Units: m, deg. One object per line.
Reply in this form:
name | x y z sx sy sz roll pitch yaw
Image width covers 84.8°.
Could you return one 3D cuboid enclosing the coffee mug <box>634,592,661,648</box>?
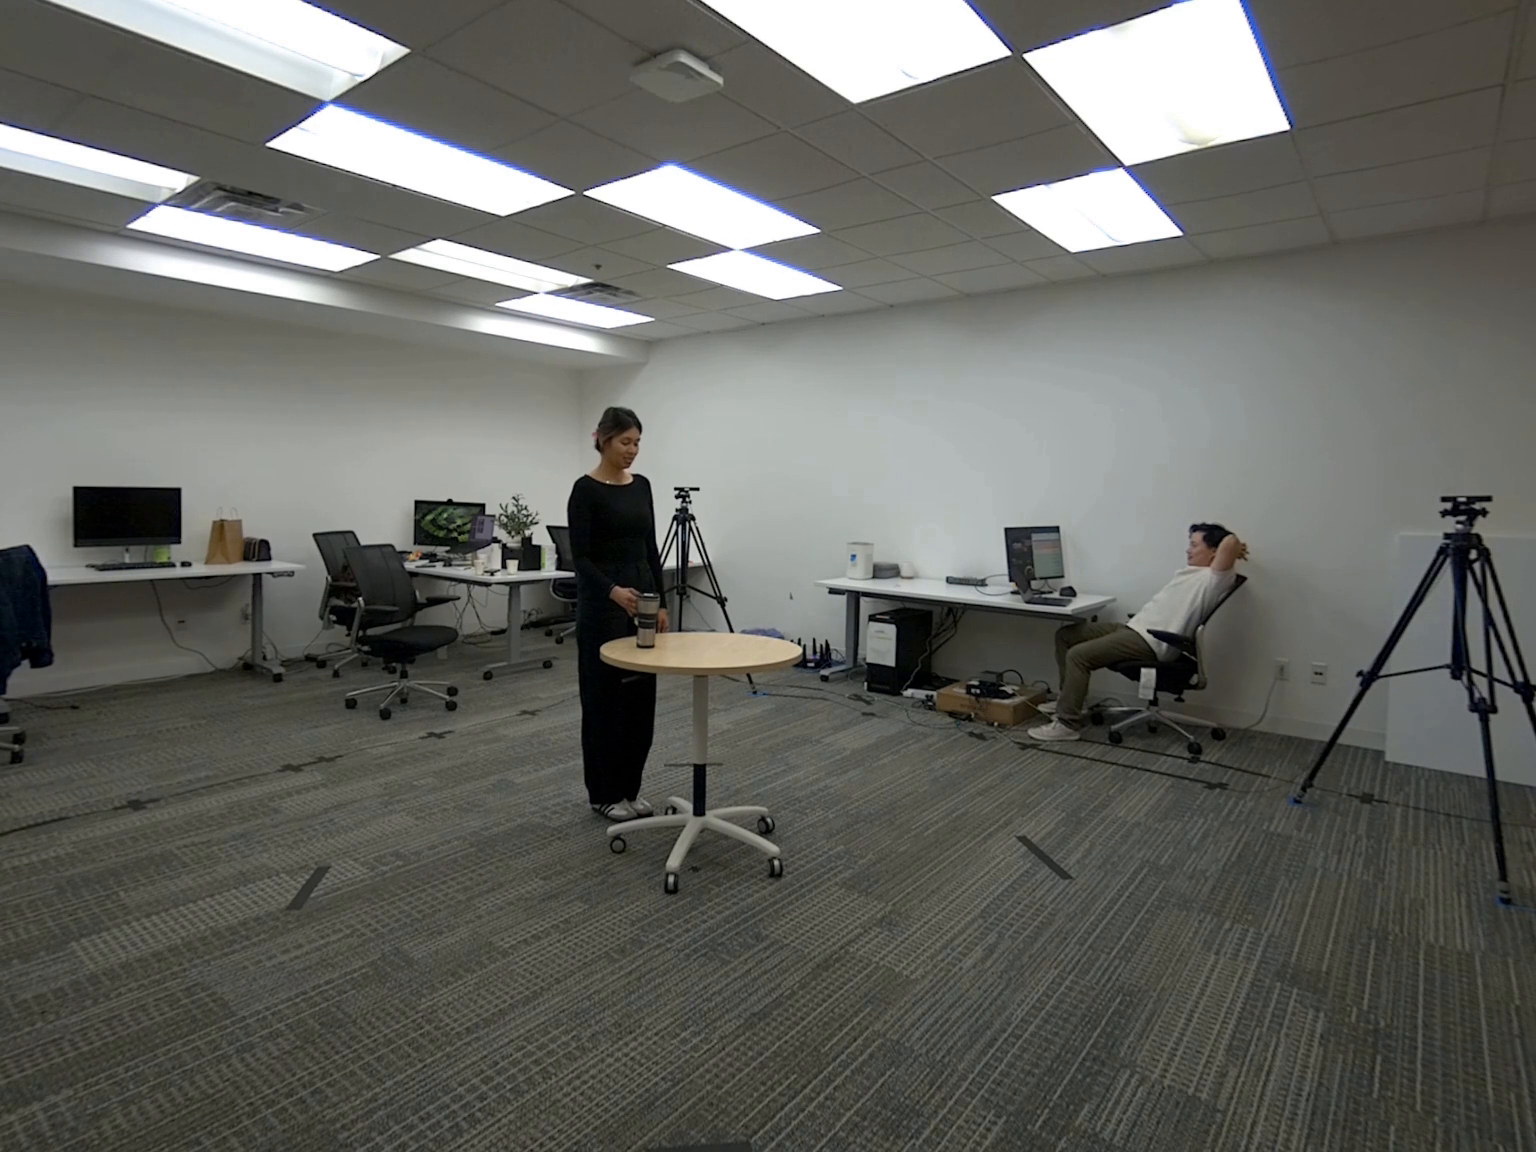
coffee mug | -0.482 0.159 3.253 0.085 0.202 0.126 0 5 -36
